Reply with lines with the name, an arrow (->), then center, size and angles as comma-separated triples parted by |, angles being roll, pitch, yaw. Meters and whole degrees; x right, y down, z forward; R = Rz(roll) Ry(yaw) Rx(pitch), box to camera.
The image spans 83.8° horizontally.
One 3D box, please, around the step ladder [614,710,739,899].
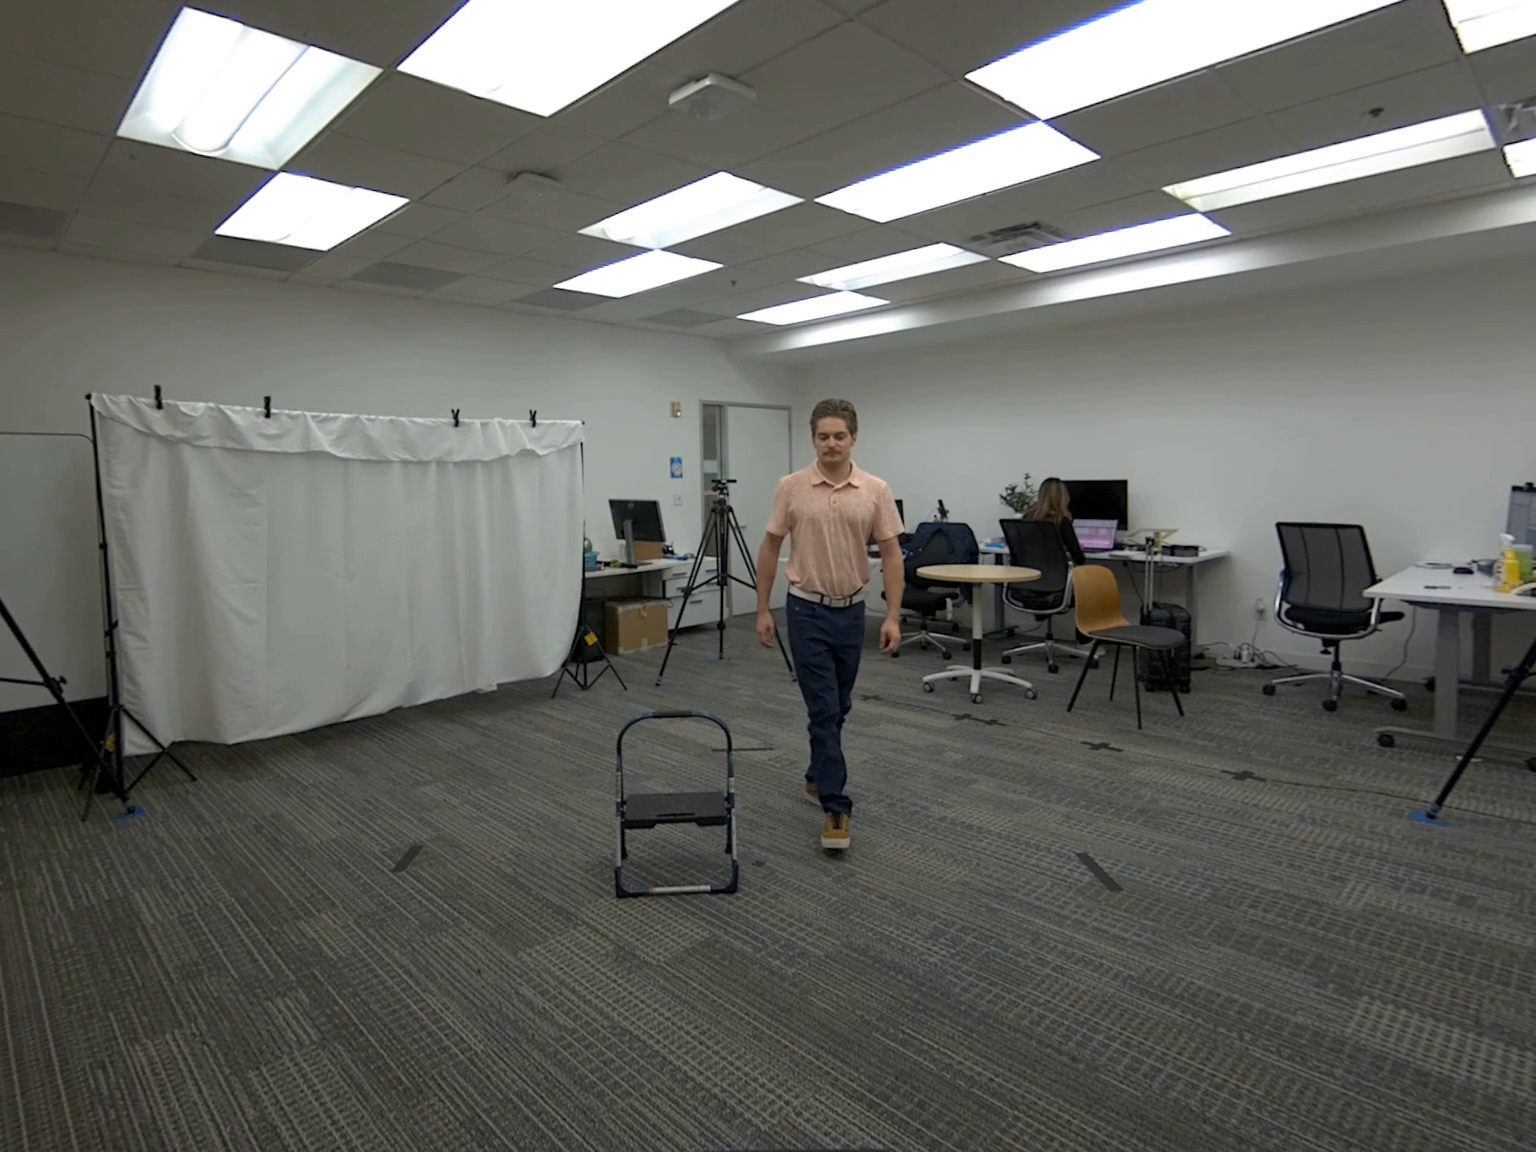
step ladder -> -0.329, 0.760, 3.027 | 0.428, 0.604, 0.352 | -2, 4, -6
